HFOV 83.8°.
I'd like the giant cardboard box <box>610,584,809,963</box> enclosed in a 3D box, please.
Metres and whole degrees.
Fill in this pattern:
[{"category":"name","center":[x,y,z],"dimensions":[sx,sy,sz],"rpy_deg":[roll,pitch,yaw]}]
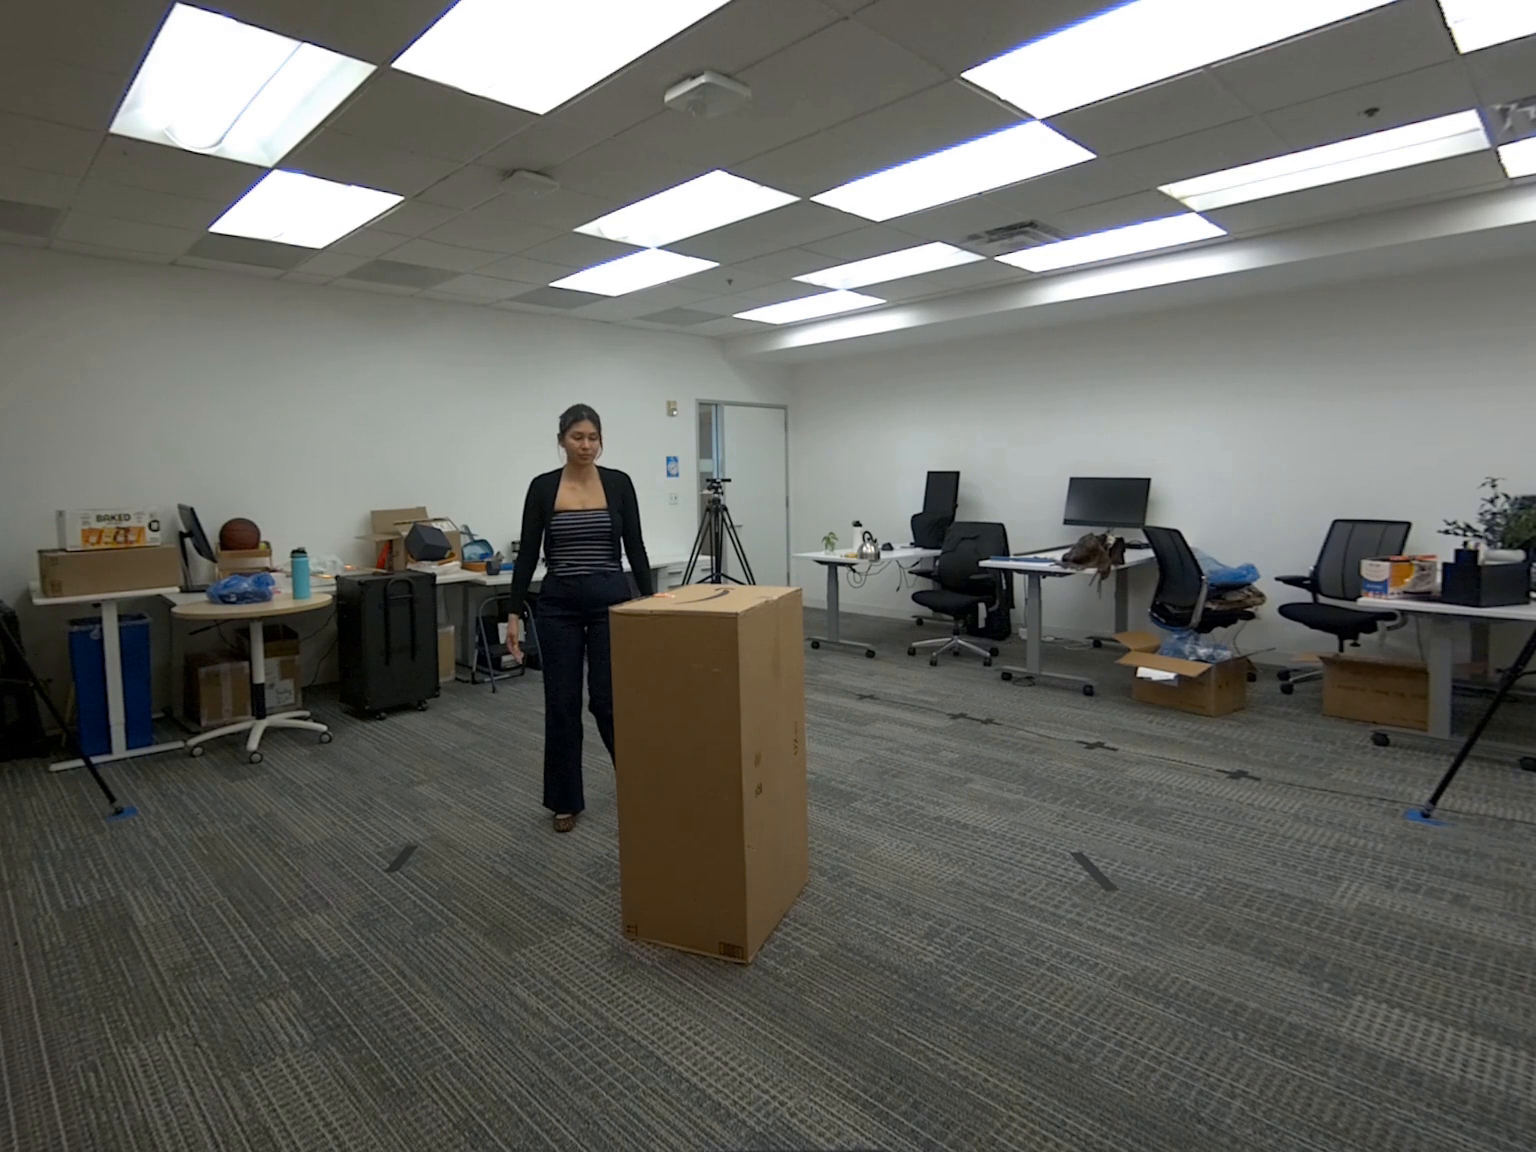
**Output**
[{"category":"giant cardboard box","center":[-0.168,0.576,2.761],"dimensions":[0.435,1.022,0.567],"rpy_deg":[0,4,23]}]
